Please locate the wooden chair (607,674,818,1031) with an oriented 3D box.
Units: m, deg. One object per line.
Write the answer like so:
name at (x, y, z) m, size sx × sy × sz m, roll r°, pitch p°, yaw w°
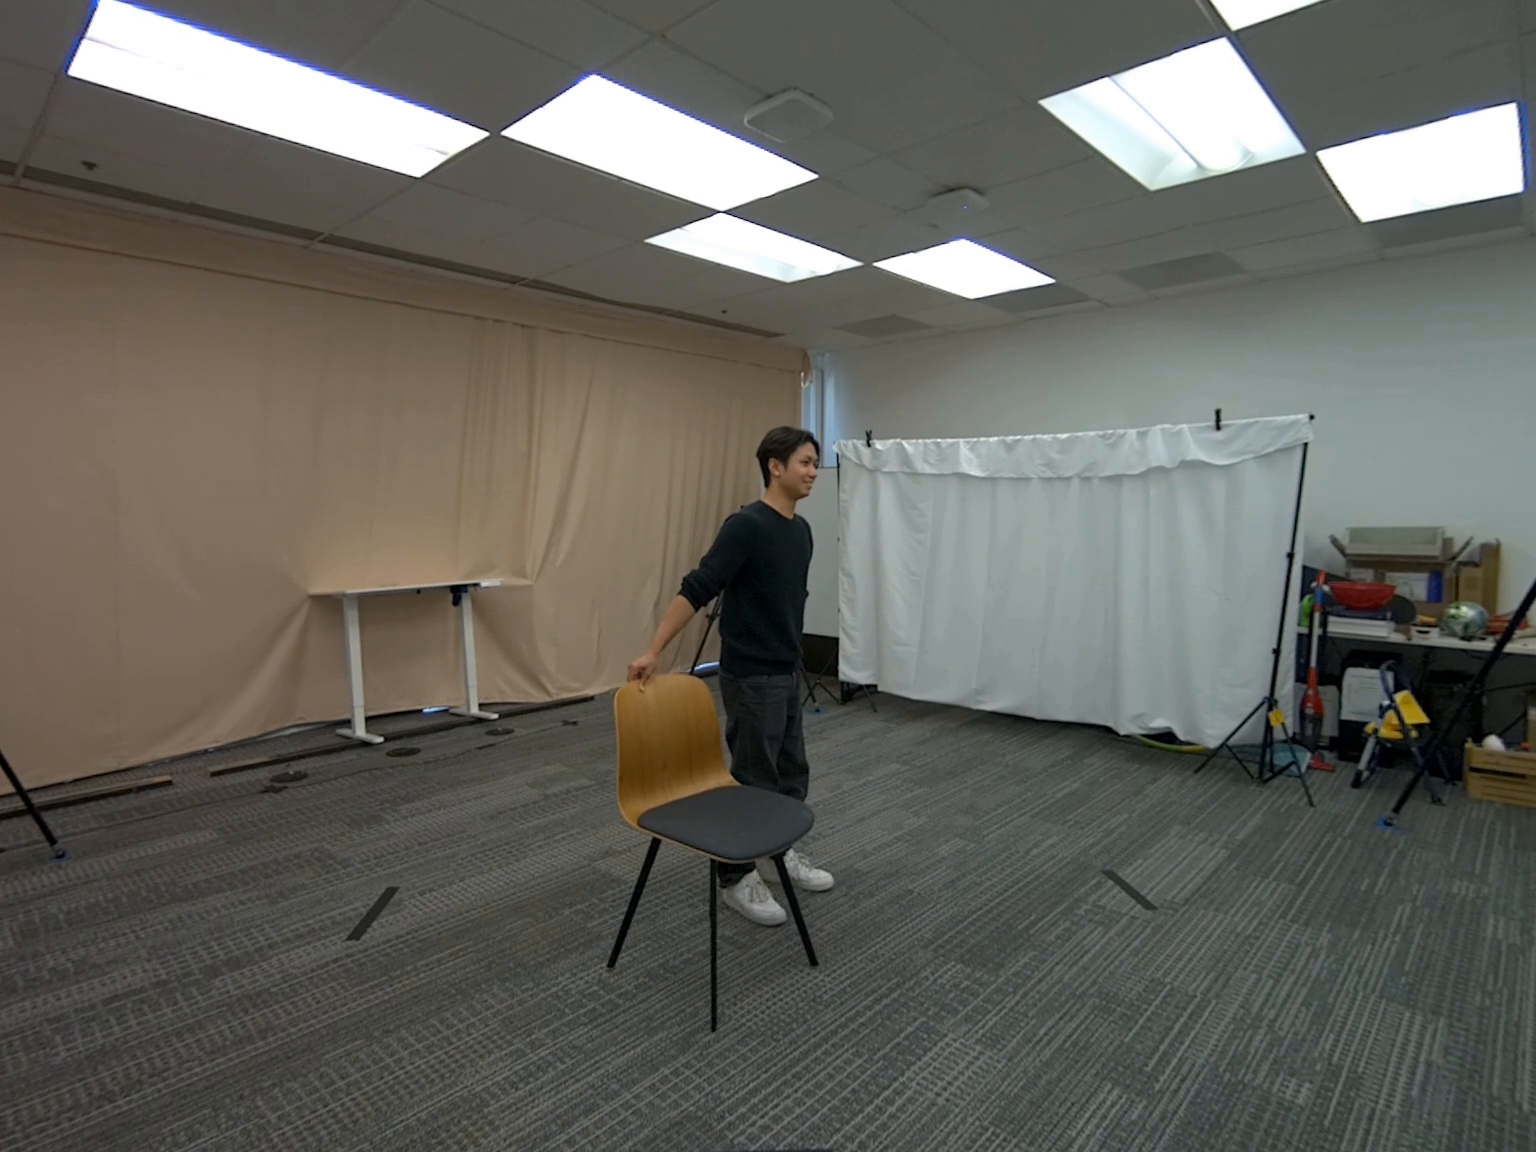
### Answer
wooden chair at (-0.160, 0.758, 2.509) m, size 0.539 × 0.877 × 0.463 m, roll -3°, pitch 0°, yaw 43°
